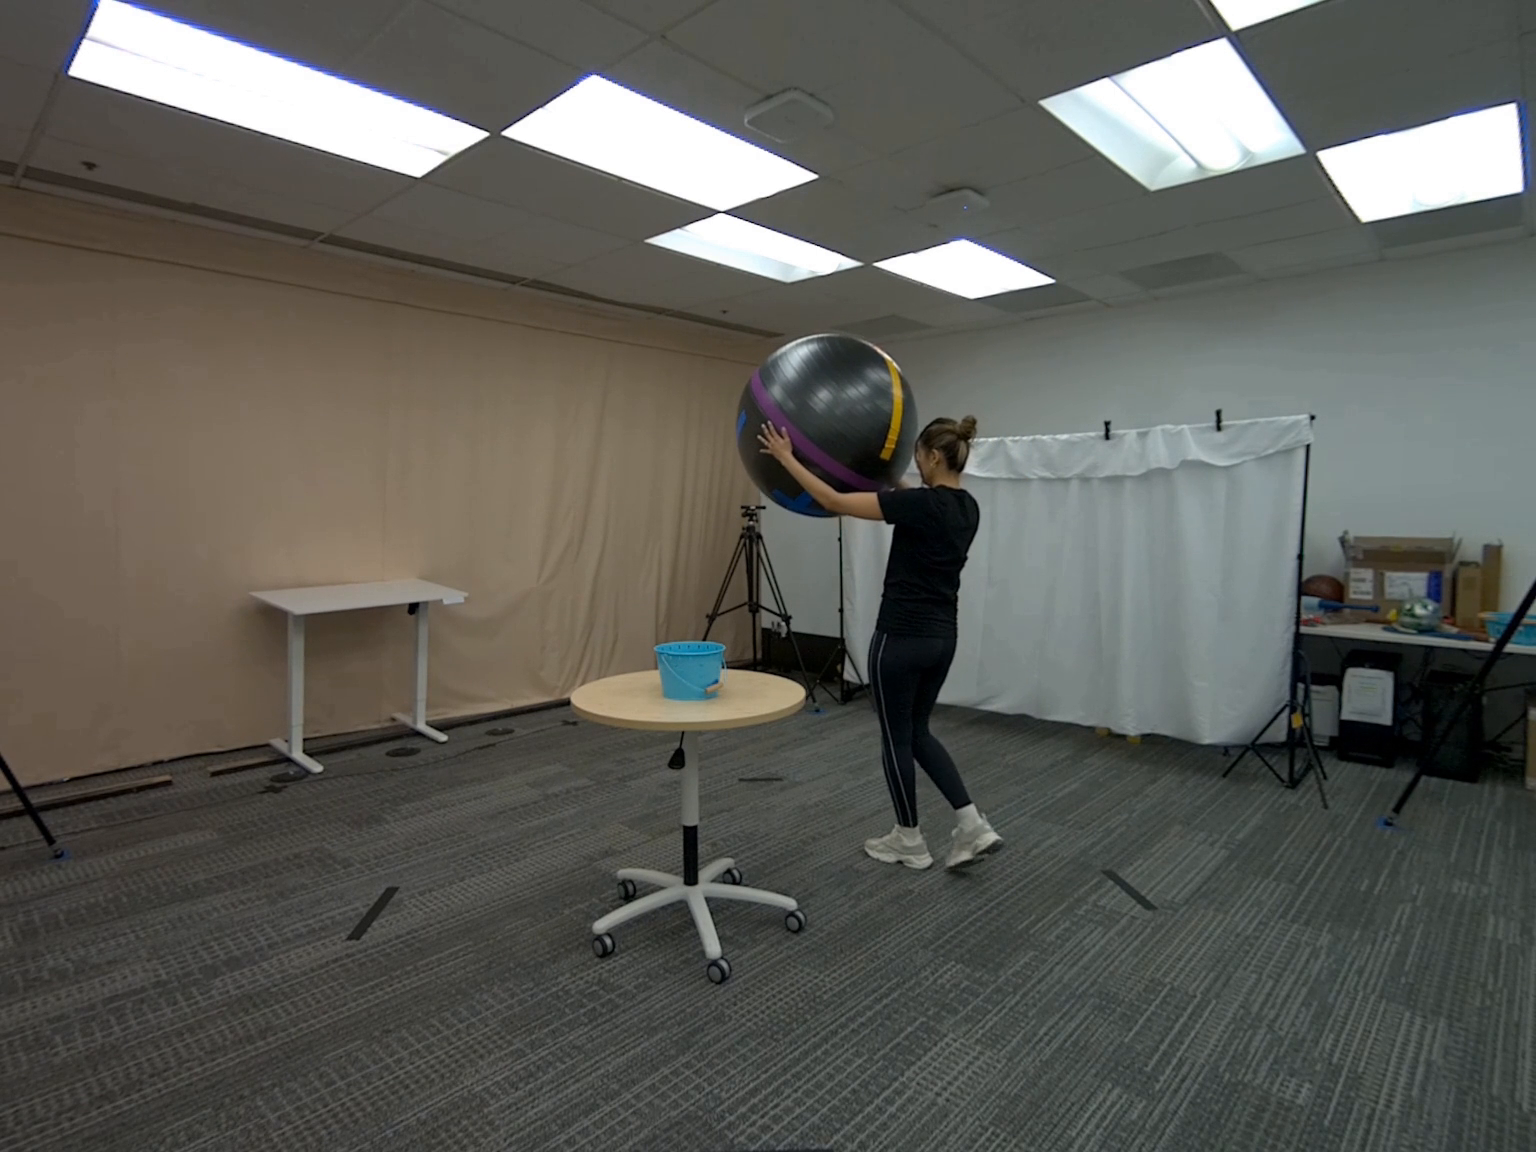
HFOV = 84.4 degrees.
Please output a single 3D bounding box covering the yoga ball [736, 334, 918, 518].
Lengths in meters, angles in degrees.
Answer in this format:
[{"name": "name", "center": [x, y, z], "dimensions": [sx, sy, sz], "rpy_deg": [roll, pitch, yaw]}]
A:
[{"name": "yoga ball", "center": [0.247, -0.615, 3.529], "dimensions": [0.757, 0.756, 0.761], "rpy_deg": [0, 4, -2]}]
